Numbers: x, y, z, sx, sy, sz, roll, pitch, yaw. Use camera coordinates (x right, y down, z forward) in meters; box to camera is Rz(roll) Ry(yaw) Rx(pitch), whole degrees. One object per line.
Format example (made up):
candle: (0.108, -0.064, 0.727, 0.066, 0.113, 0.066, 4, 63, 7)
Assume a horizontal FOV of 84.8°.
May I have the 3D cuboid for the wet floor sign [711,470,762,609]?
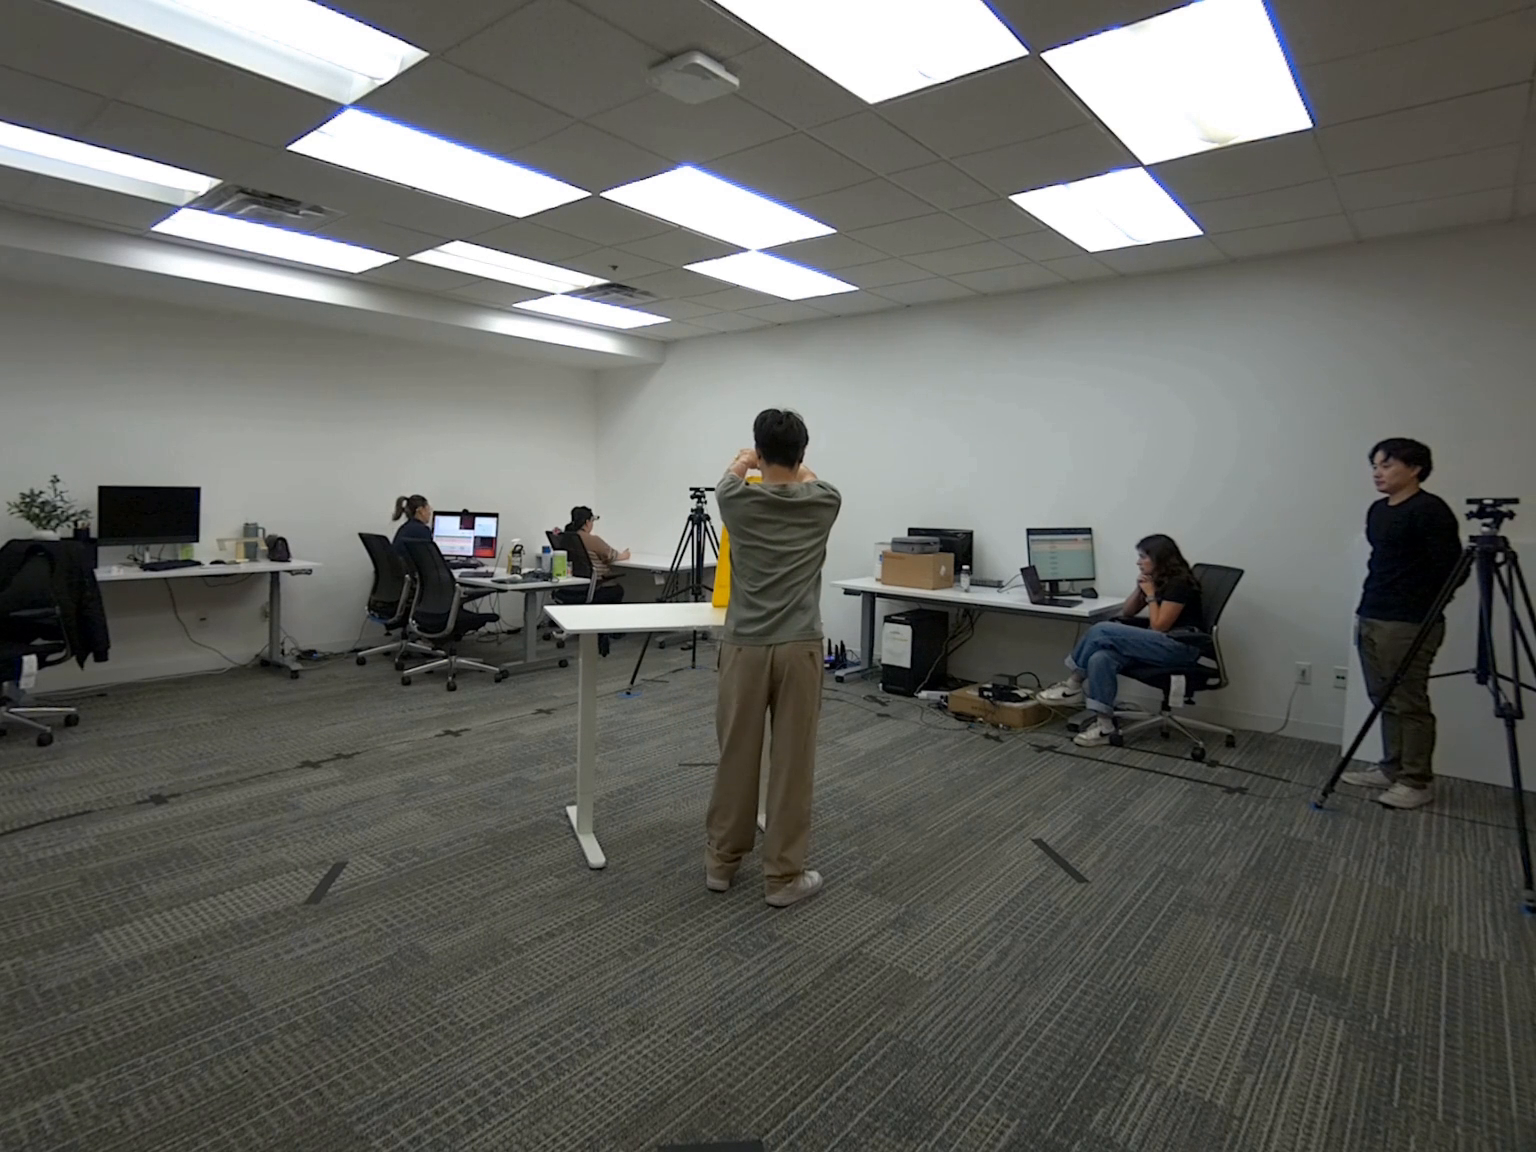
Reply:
wet floor sign: (-0.061, -0.173, 3.537, 0.278, 0.645, 0.295, 1, 2, -16)
